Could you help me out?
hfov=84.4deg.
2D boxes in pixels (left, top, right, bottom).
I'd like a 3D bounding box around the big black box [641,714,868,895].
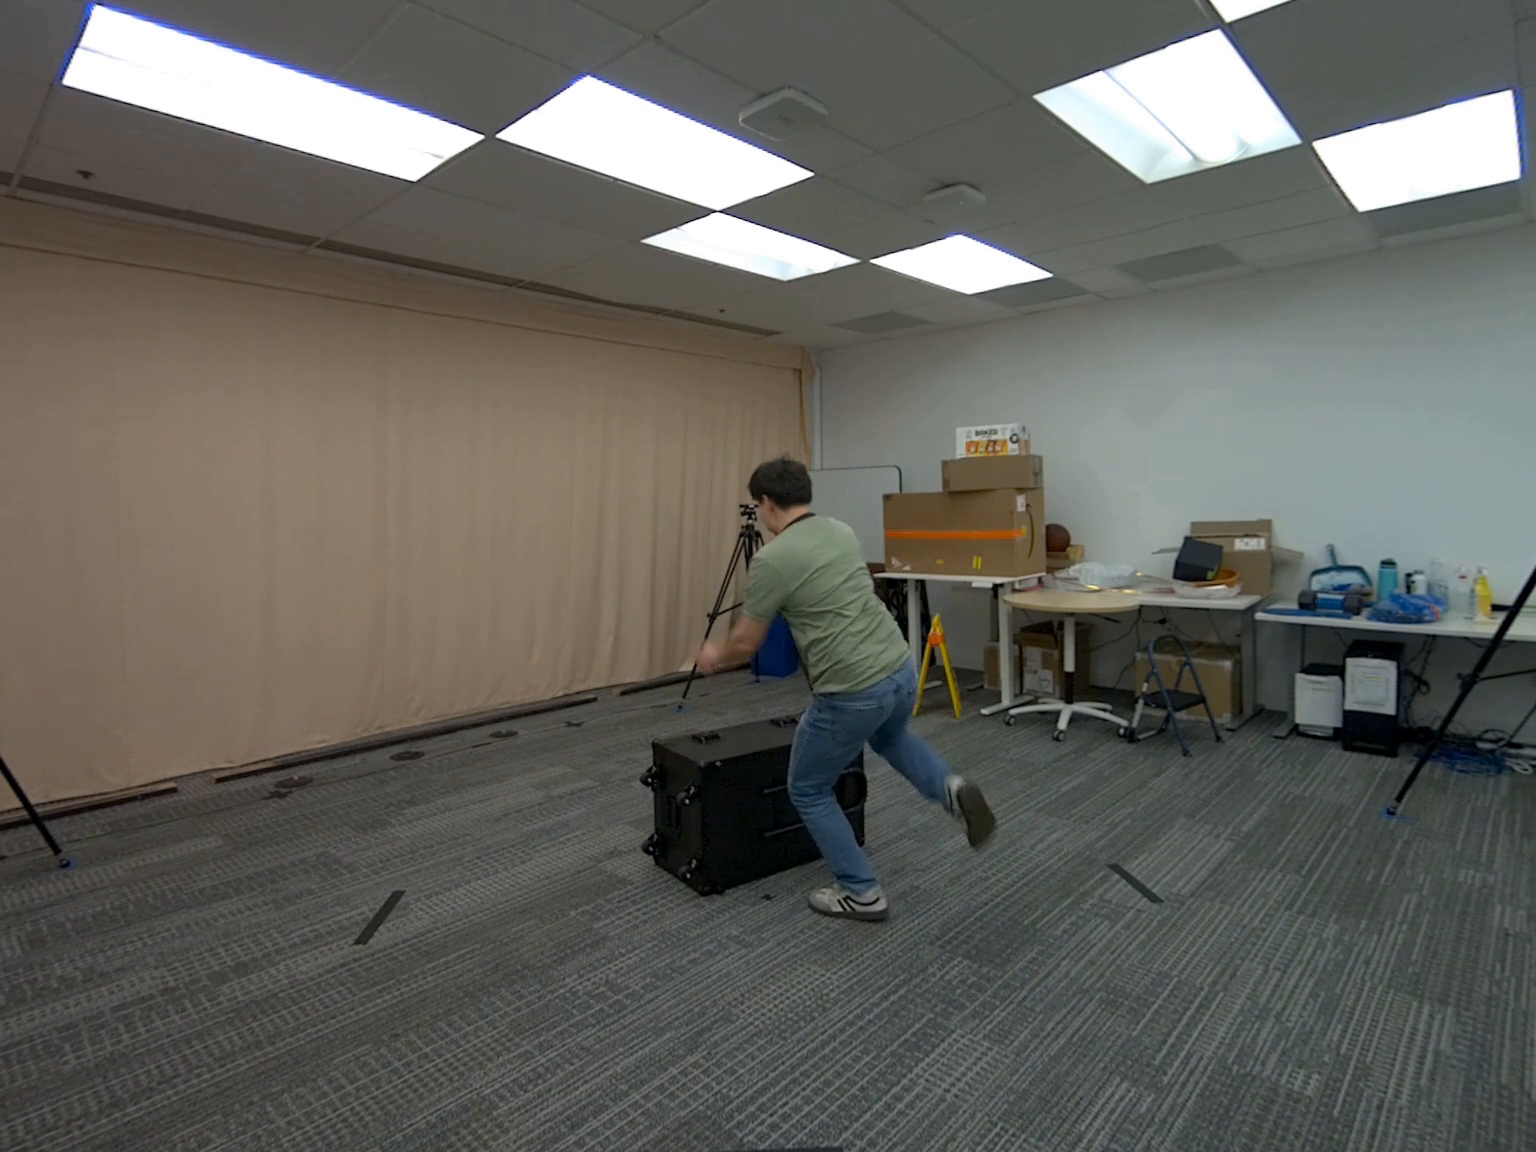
[{"bbox_3d":[-0.046,0.870,3.309,0.837,0.520,0.408,-4,5,-34],"label":"big black box"}]
